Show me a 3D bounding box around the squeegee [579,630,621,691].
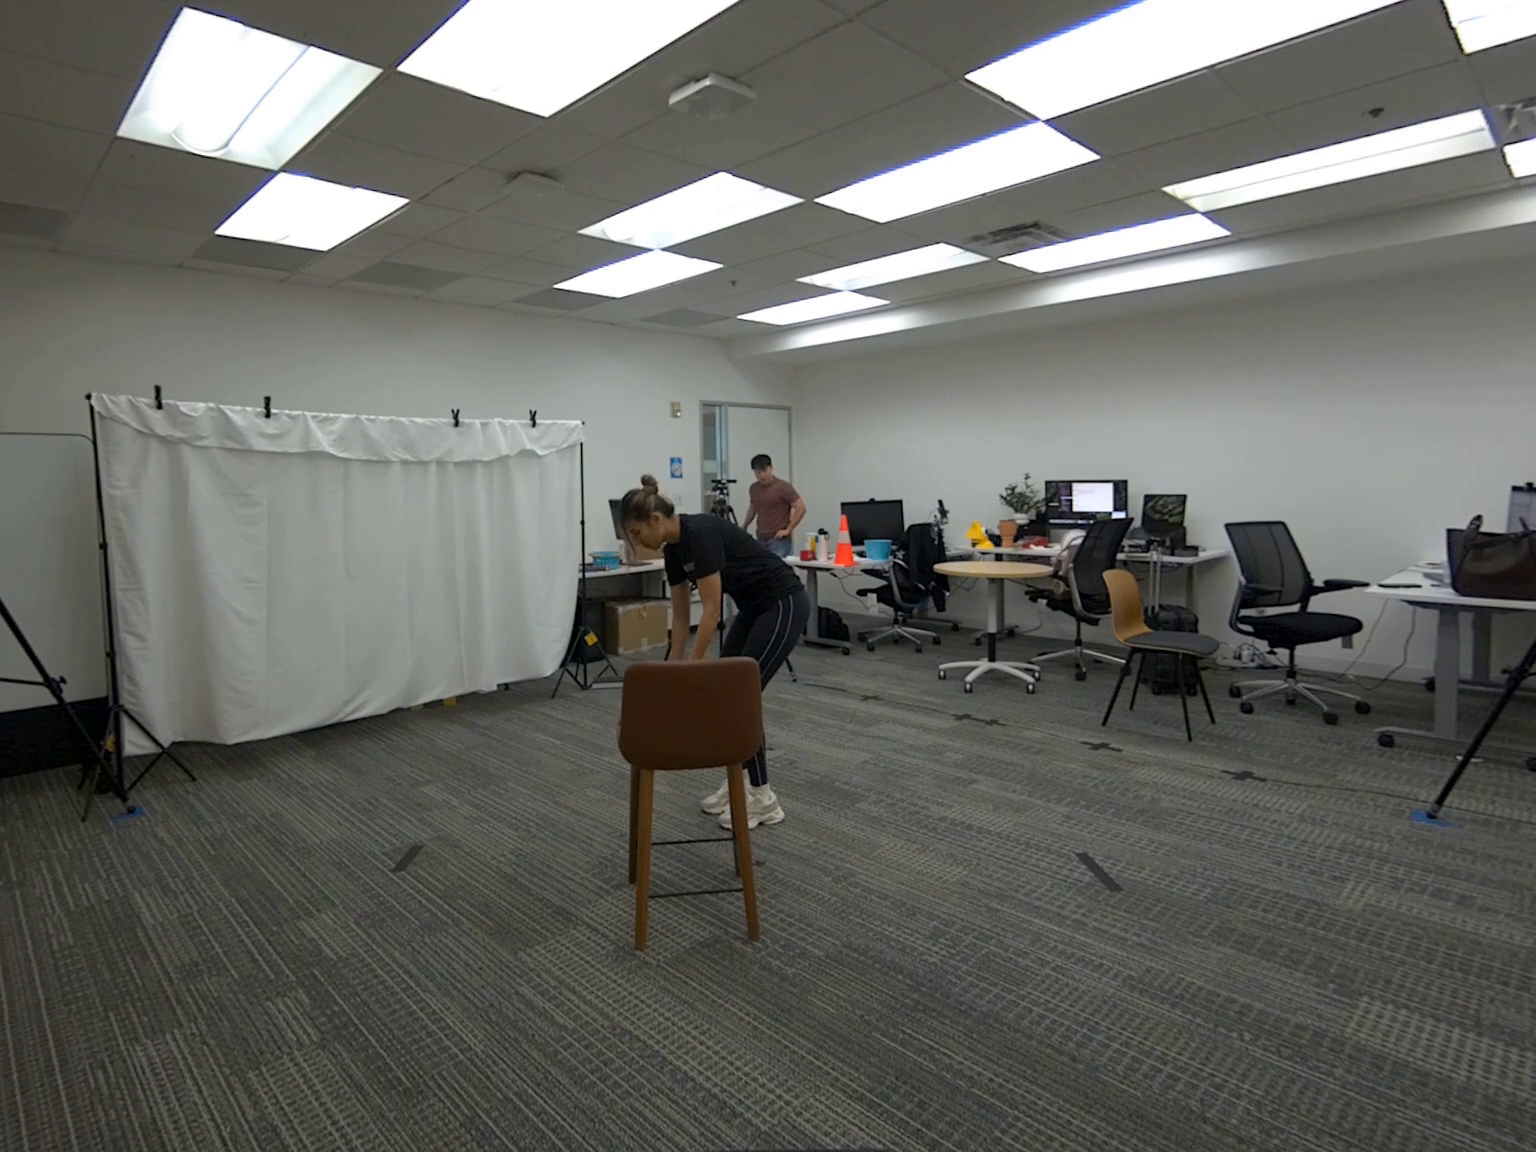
[{"bbox_3d":[-0.397,0.510,3.463,0.436,0.054,1.517,-28,-11,-9],"label":"squeegee"}]
